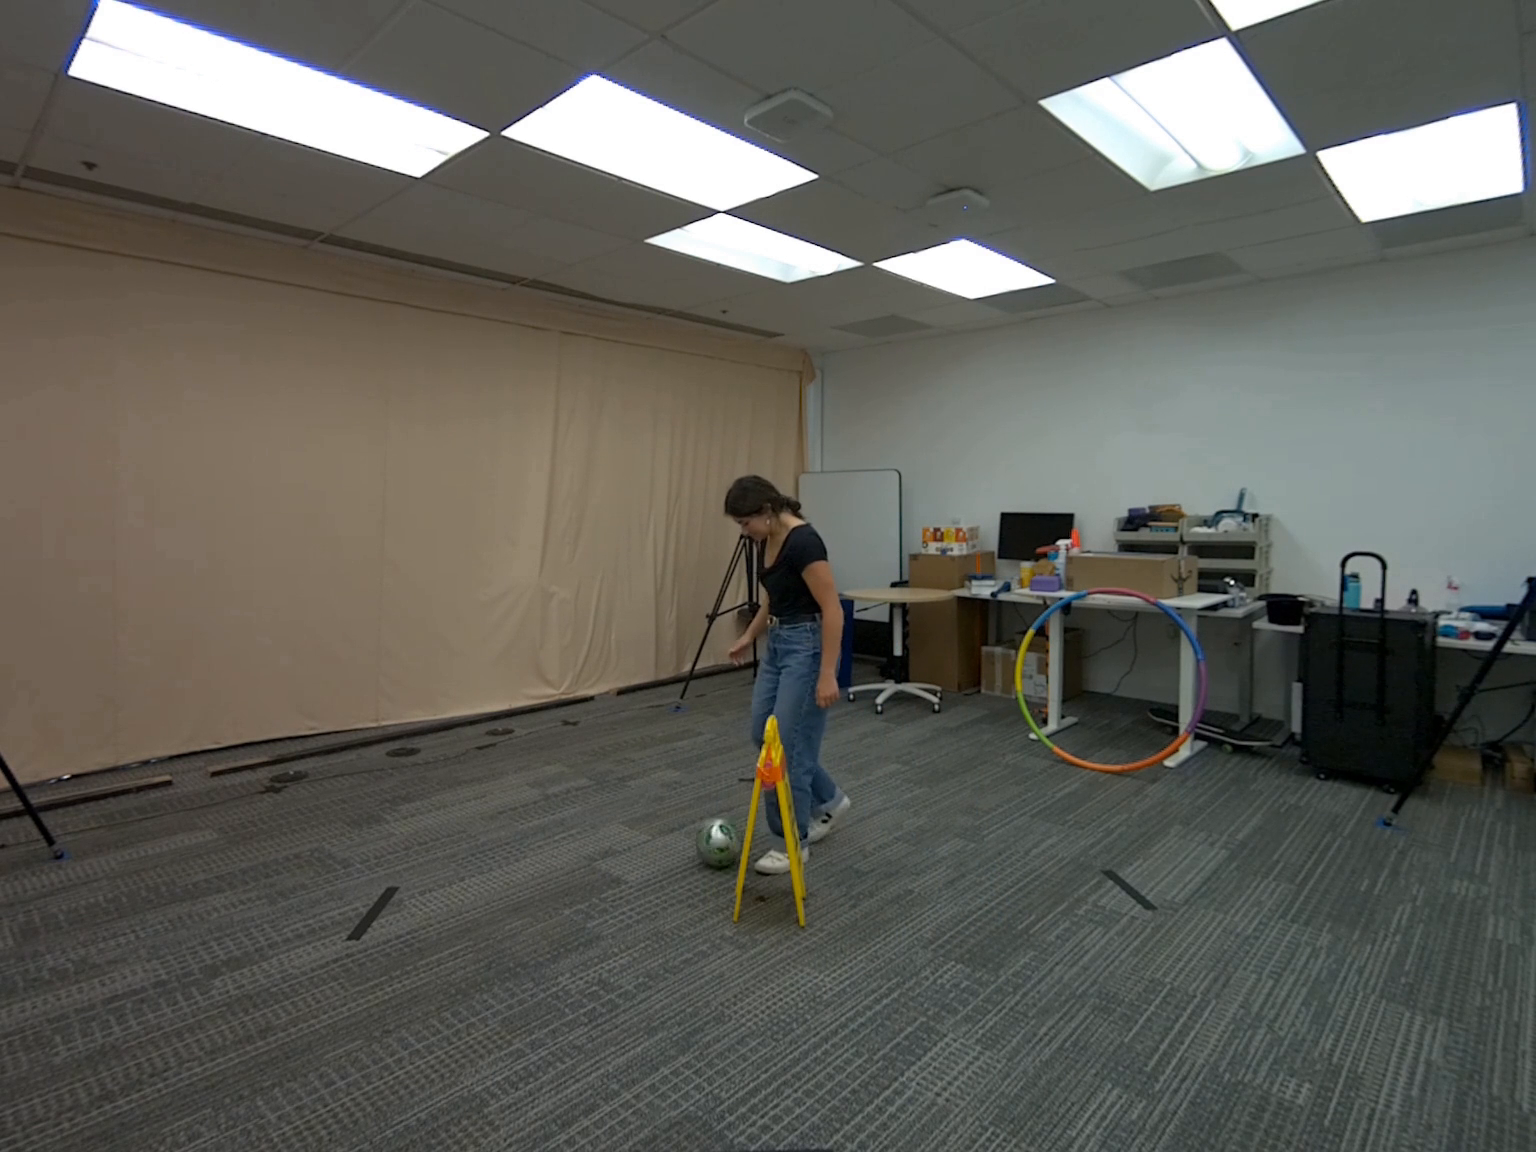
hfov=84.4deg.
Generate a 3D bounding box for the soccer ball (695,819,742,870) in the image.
[{"bbox_3d":[-0.175,1.033,3.263,0.187,0.187,0.188,0,4,-2],"label":"soccer ball"}]
